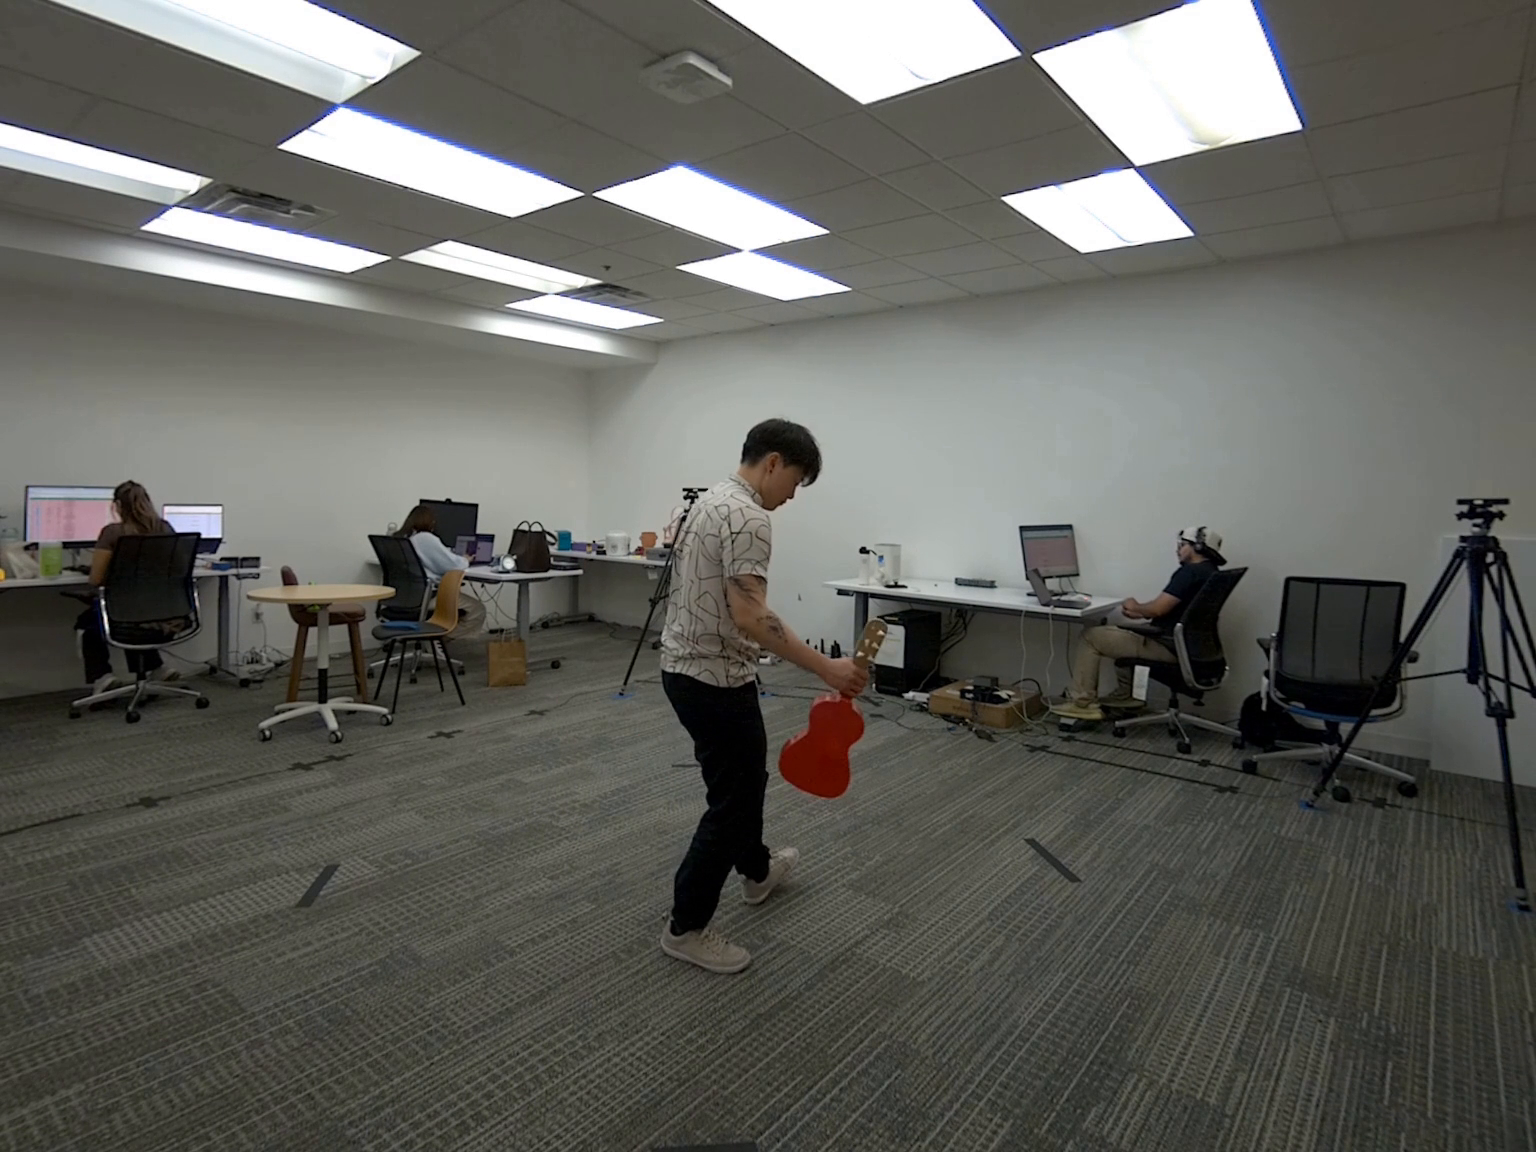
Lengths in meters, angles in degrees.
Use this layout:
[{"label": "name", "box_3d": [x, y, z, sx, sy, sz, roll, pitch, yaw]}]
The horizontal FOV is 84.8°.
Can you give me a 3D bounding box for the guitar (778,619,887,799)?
[{"label": "guitar", "box_3d": [0.159, 0.344, 2.264, 0.194, 0.494, 0.071, 13, 10, 4]}]
